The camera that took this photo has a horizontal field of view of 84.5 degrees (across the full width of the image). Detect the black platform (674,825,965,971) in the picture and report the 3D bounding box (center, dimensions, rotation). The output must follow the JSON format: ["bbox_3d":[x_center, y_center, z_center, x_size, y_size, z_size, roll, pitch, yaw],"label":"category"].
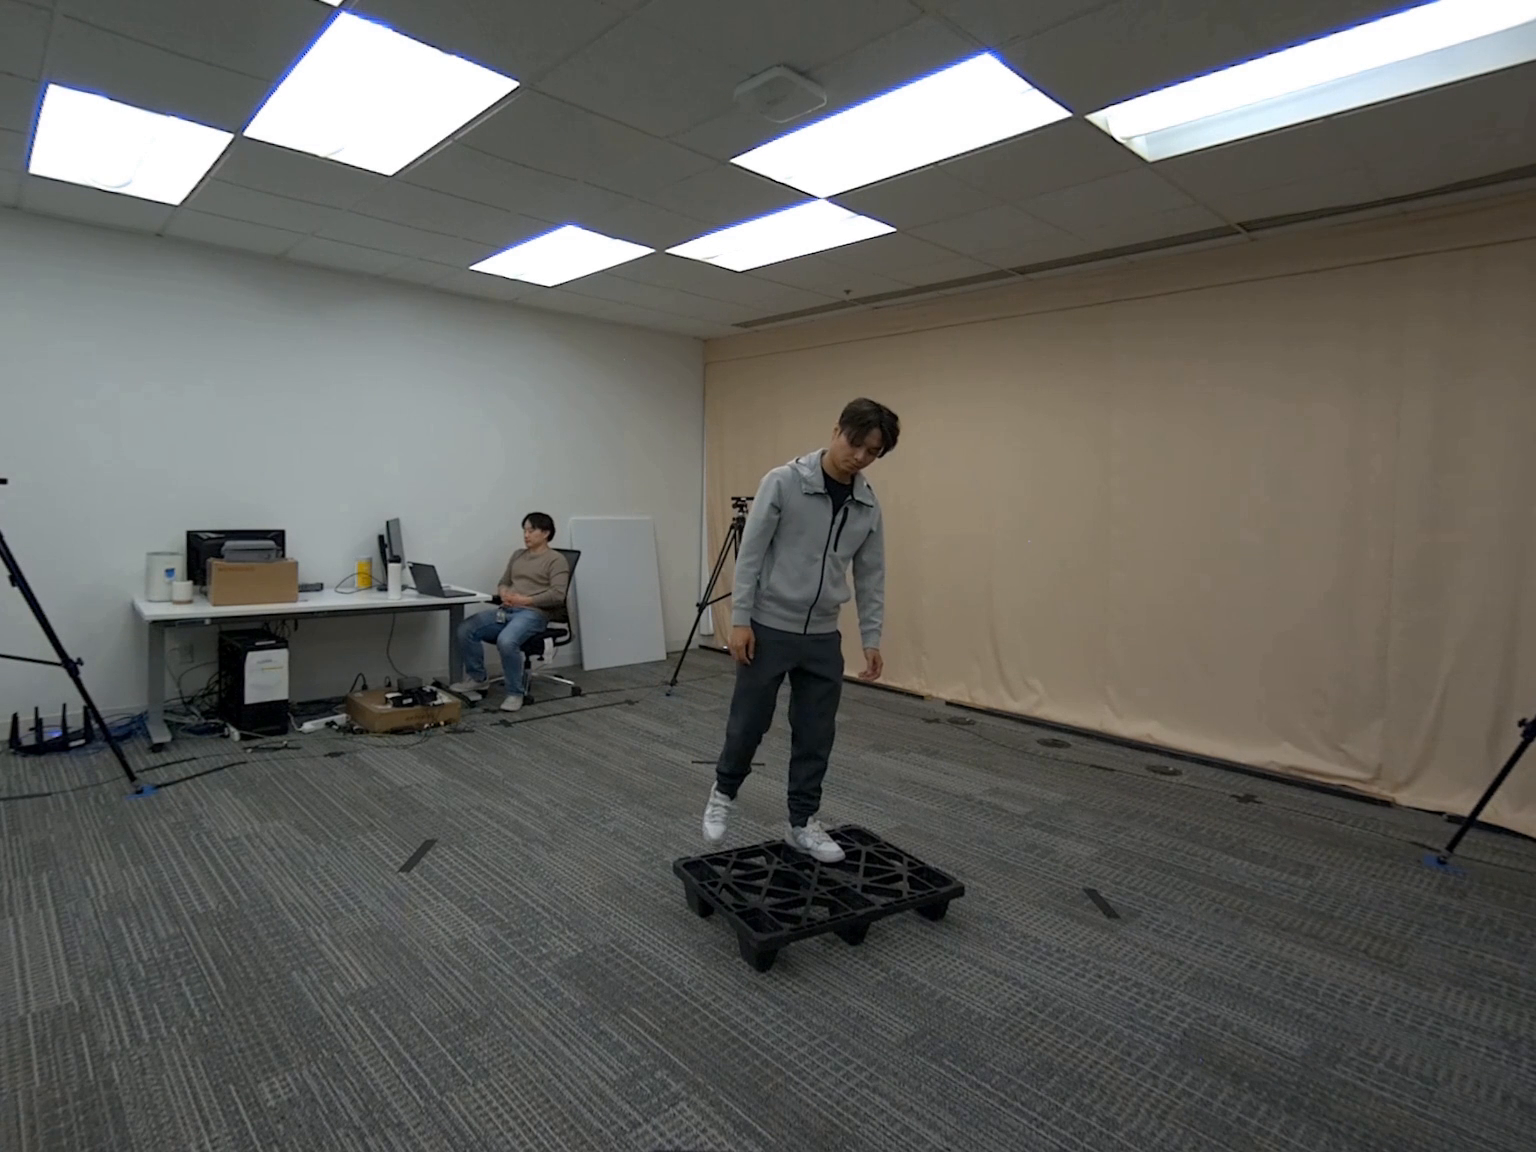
[{"bbox_3d":[0.147,1.070,2.845,0.789,0.143,0.619,-1,5,-30],"label":"black platform"}]
